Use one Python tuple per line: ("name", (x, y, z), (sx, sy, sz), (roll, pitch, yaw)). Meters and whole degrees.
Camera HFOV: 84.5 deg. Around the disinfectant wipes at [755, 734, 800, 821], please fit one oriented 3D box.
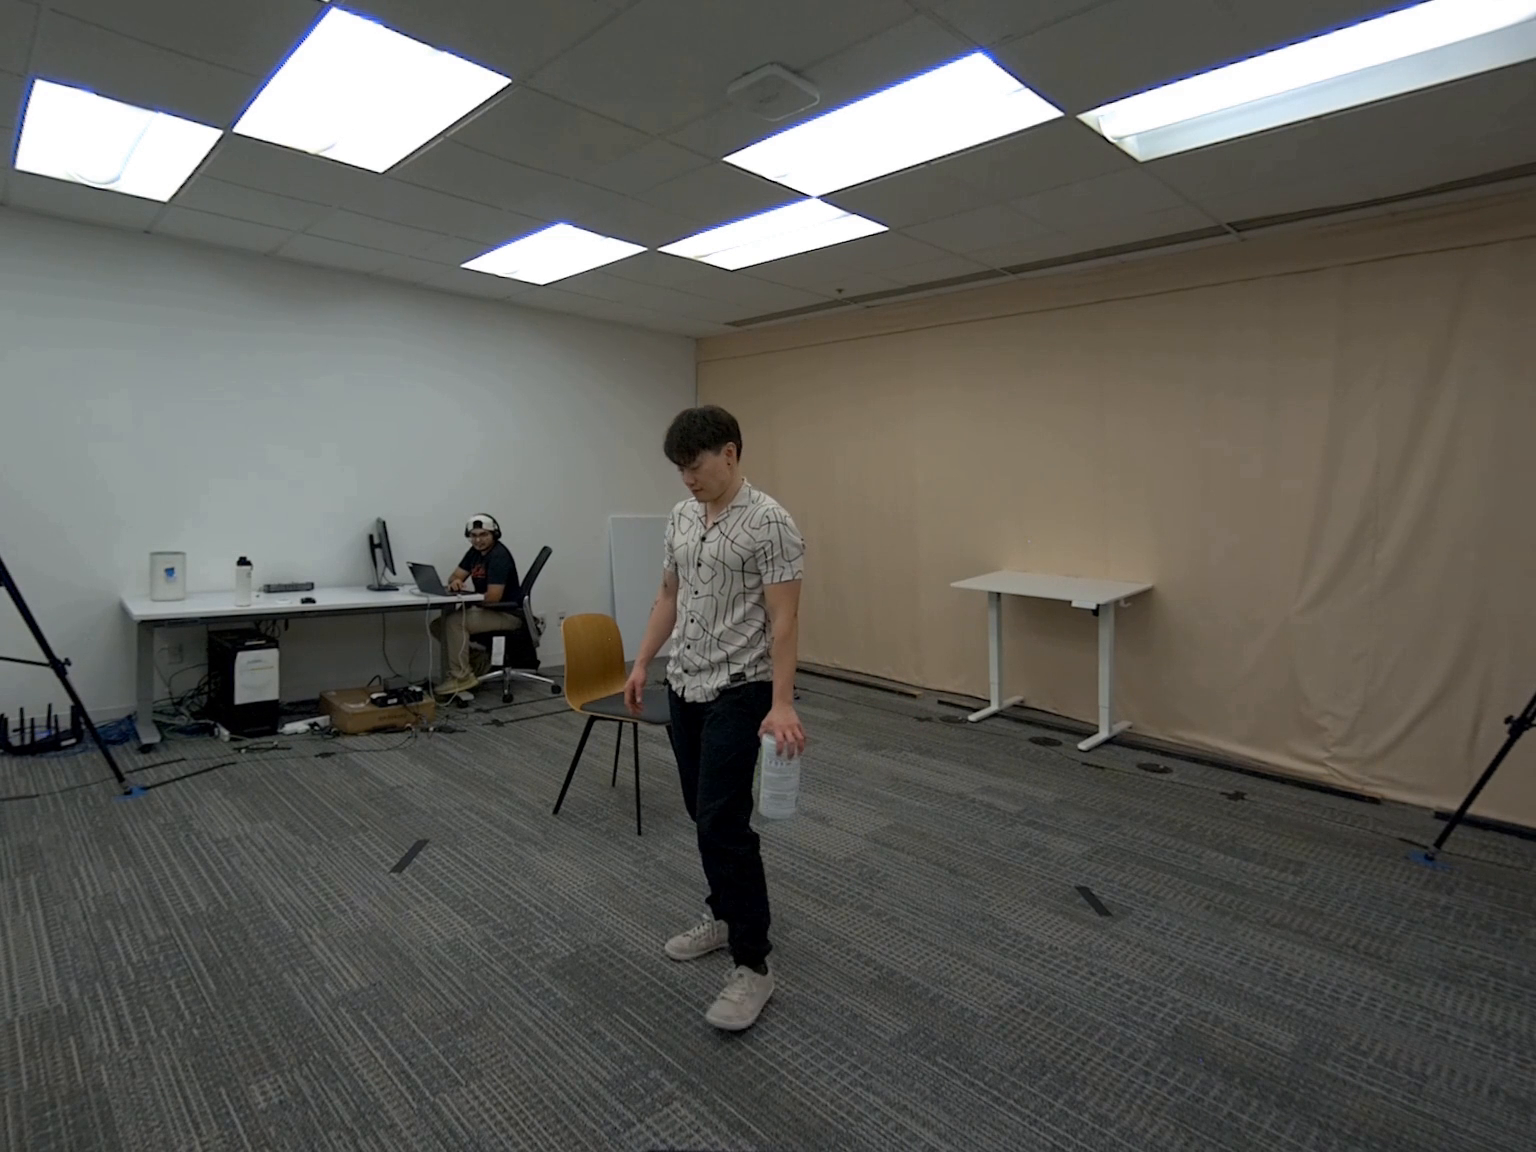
("disinfectant wipes", (0.031, 0.539, 2.263), (0.118, 0.216, 0.118), (4, 6, -2))
